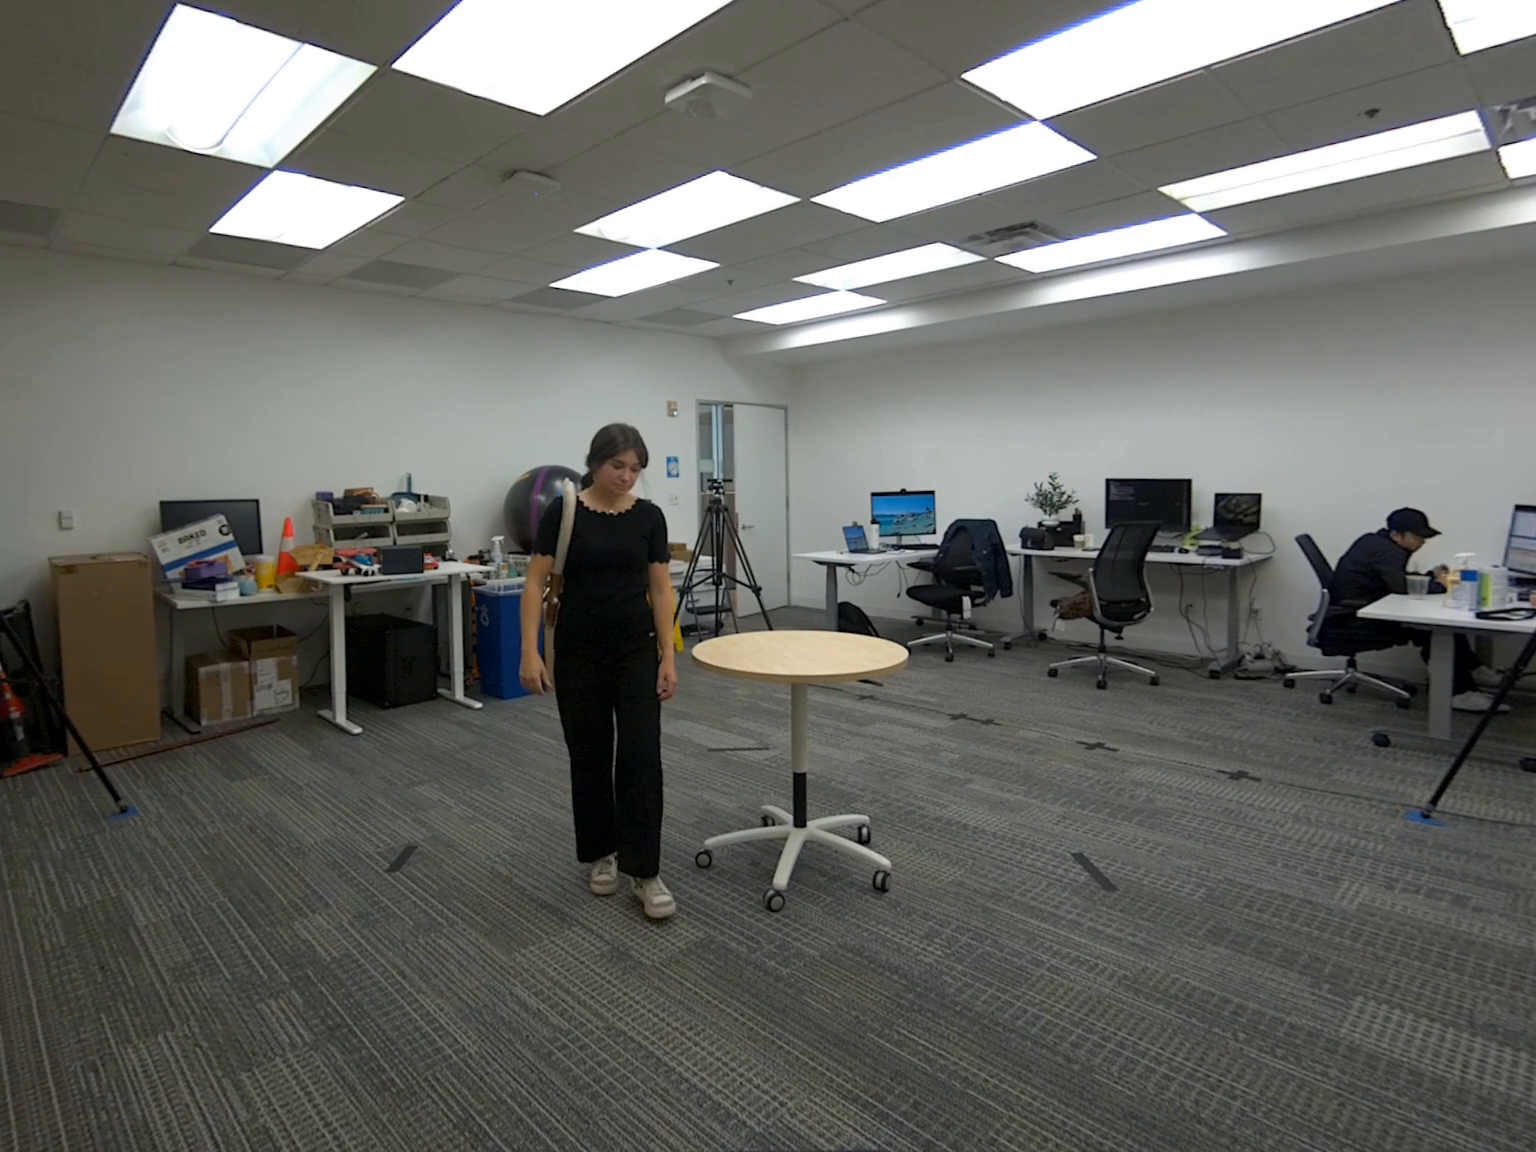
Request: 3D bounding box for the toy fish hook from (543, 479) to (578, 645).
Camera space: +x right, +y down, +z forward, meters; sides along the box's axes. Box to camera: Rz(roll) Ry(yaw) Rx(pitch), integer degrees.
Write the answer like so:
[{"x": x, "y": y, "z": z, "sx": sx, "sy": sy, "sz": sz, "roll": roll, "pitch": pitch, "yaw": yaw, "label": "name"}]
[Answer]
[{"x": -0.710, "y": -0.074, "z": 2.889, "sx": 0.047, "sy": 0.504, "sz": 0.230, "roll": 9, "pitch": 7, "yaw": -21, "label": "toy fish hook"}]
